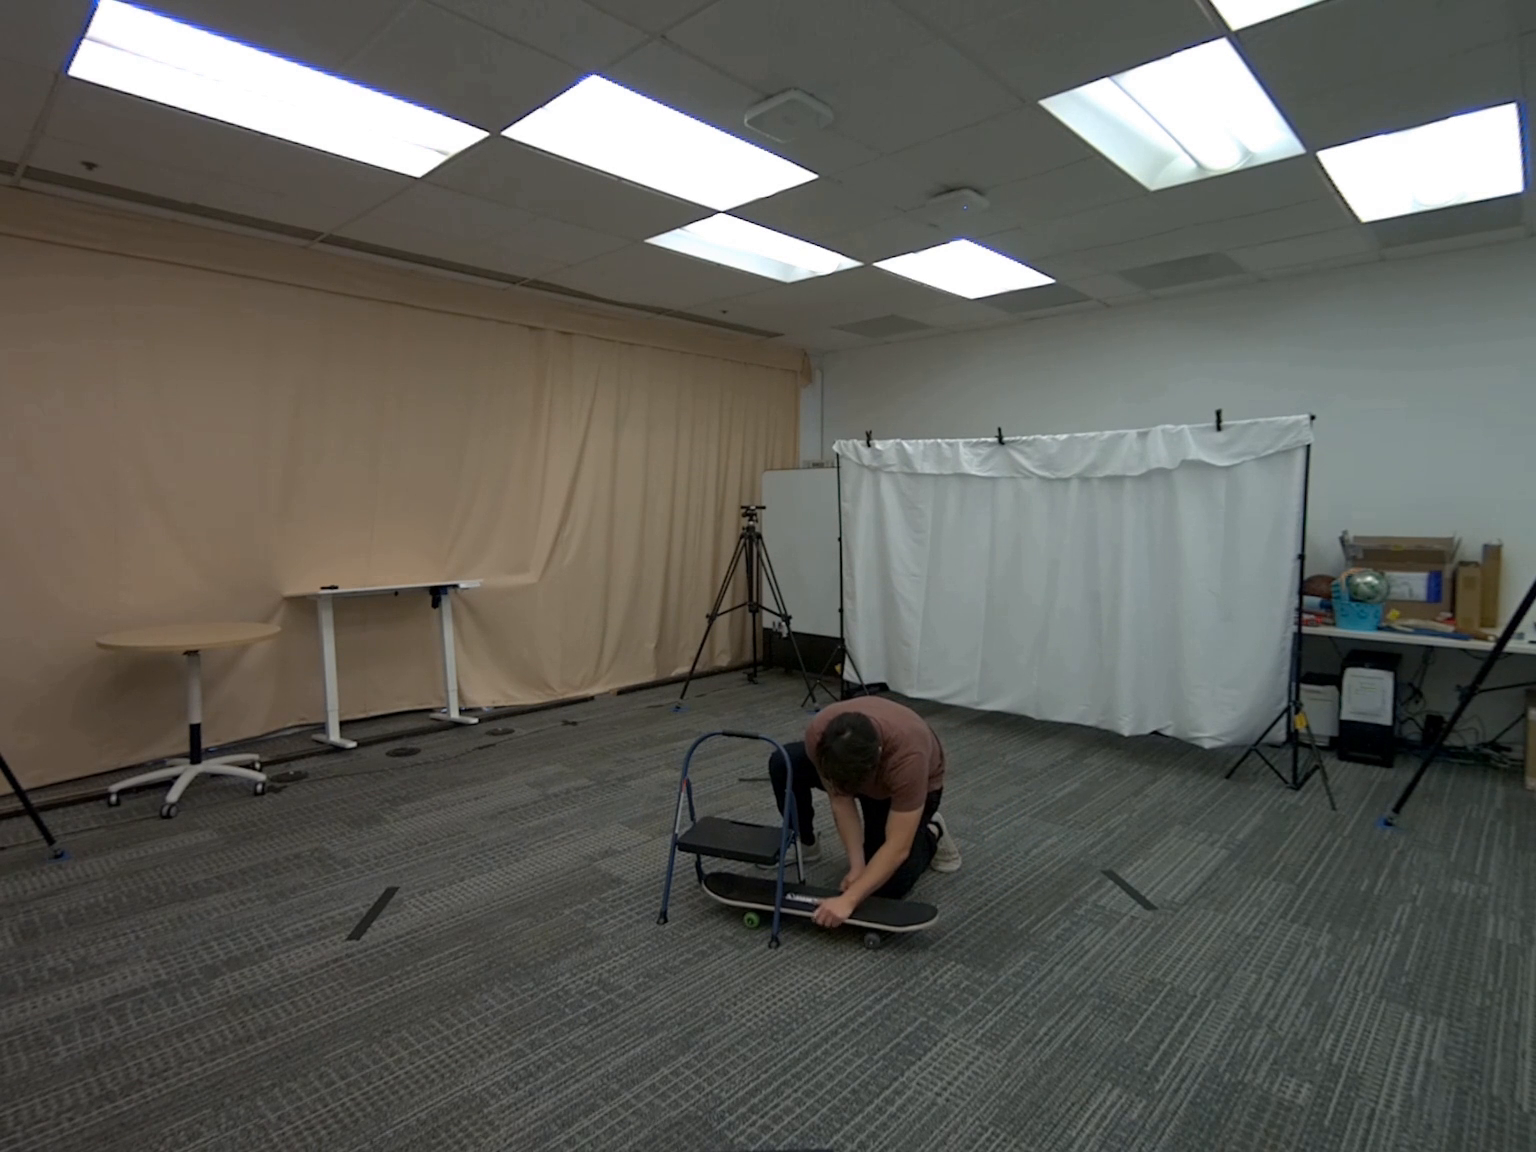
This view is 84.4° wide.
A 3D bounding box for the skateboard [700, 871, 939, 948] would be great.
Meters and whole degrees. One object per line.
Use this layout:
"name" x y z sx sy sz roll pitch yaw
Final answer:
"skateboard" 0.162 1.098 2.786 0.801 0.110 0.190 1 5 18
